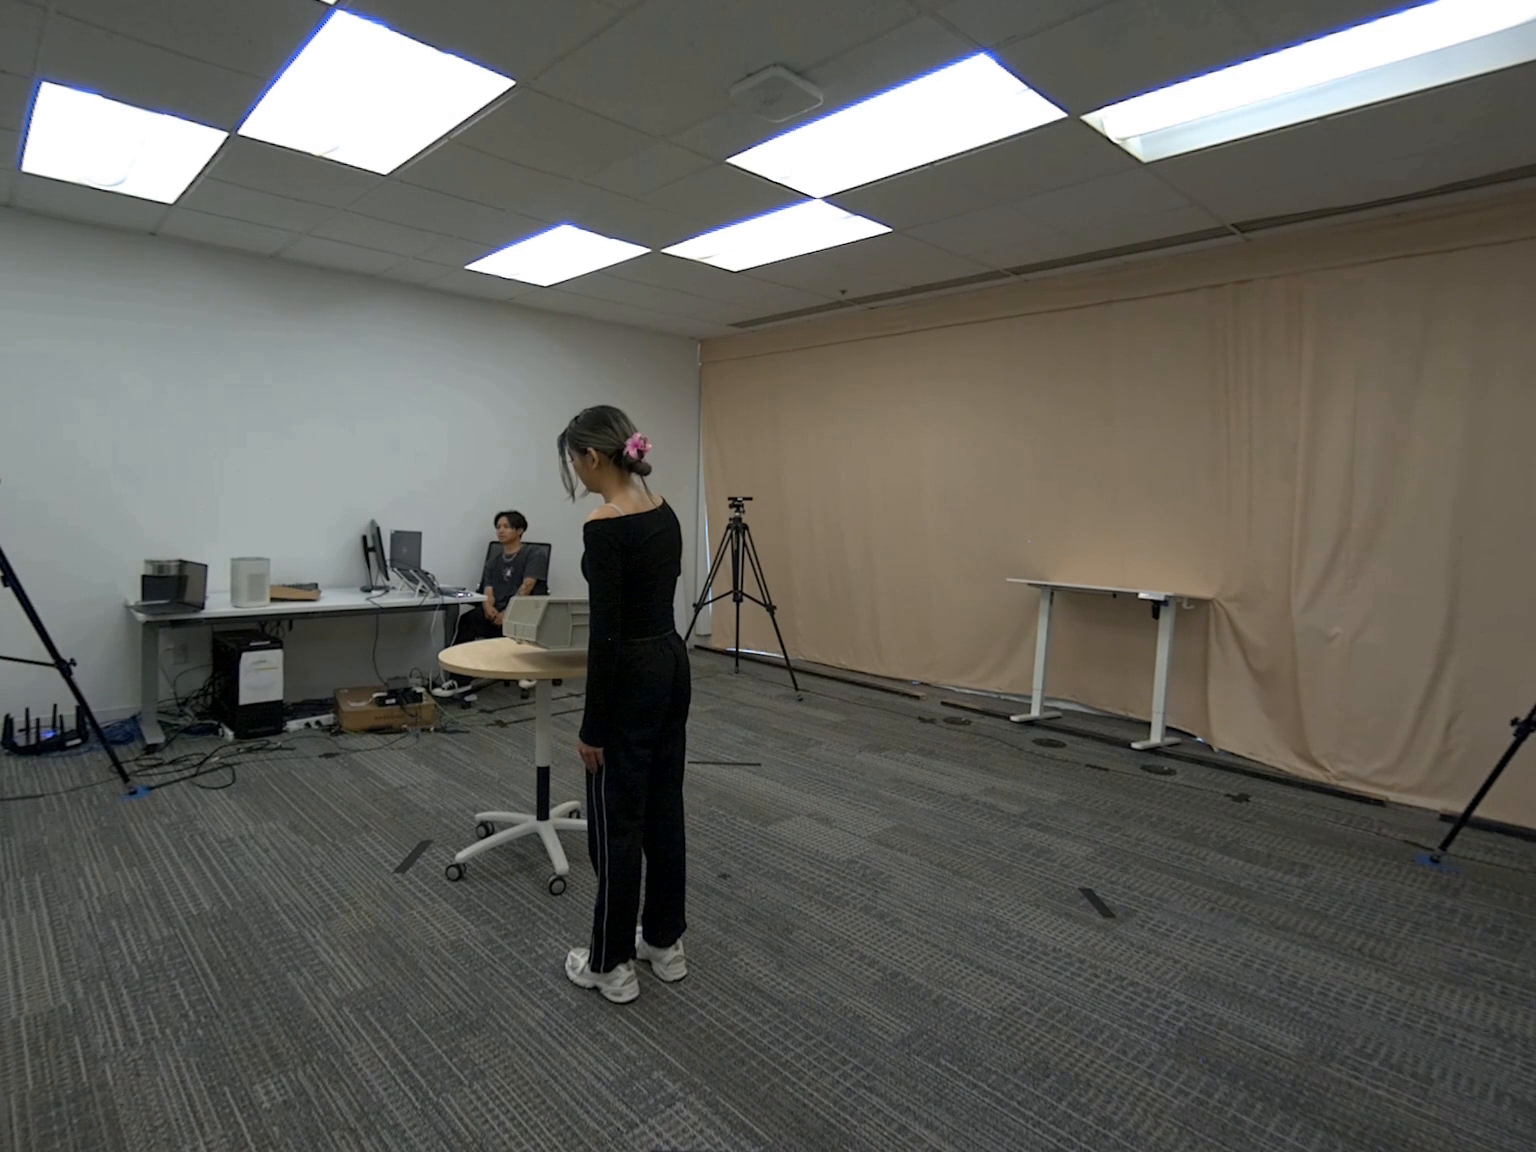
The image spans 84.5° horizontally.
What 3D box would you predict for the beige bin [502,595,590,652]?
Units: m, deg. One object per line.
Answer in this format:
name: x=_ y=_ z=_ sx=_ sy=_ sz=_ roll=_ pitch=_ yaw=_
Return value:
beige bin: x=-0.727 y=0.168 z=3.054 sx=0.369 sy=0.189 sz=0.430 roll=2 pitch=-2 yaw=-31
